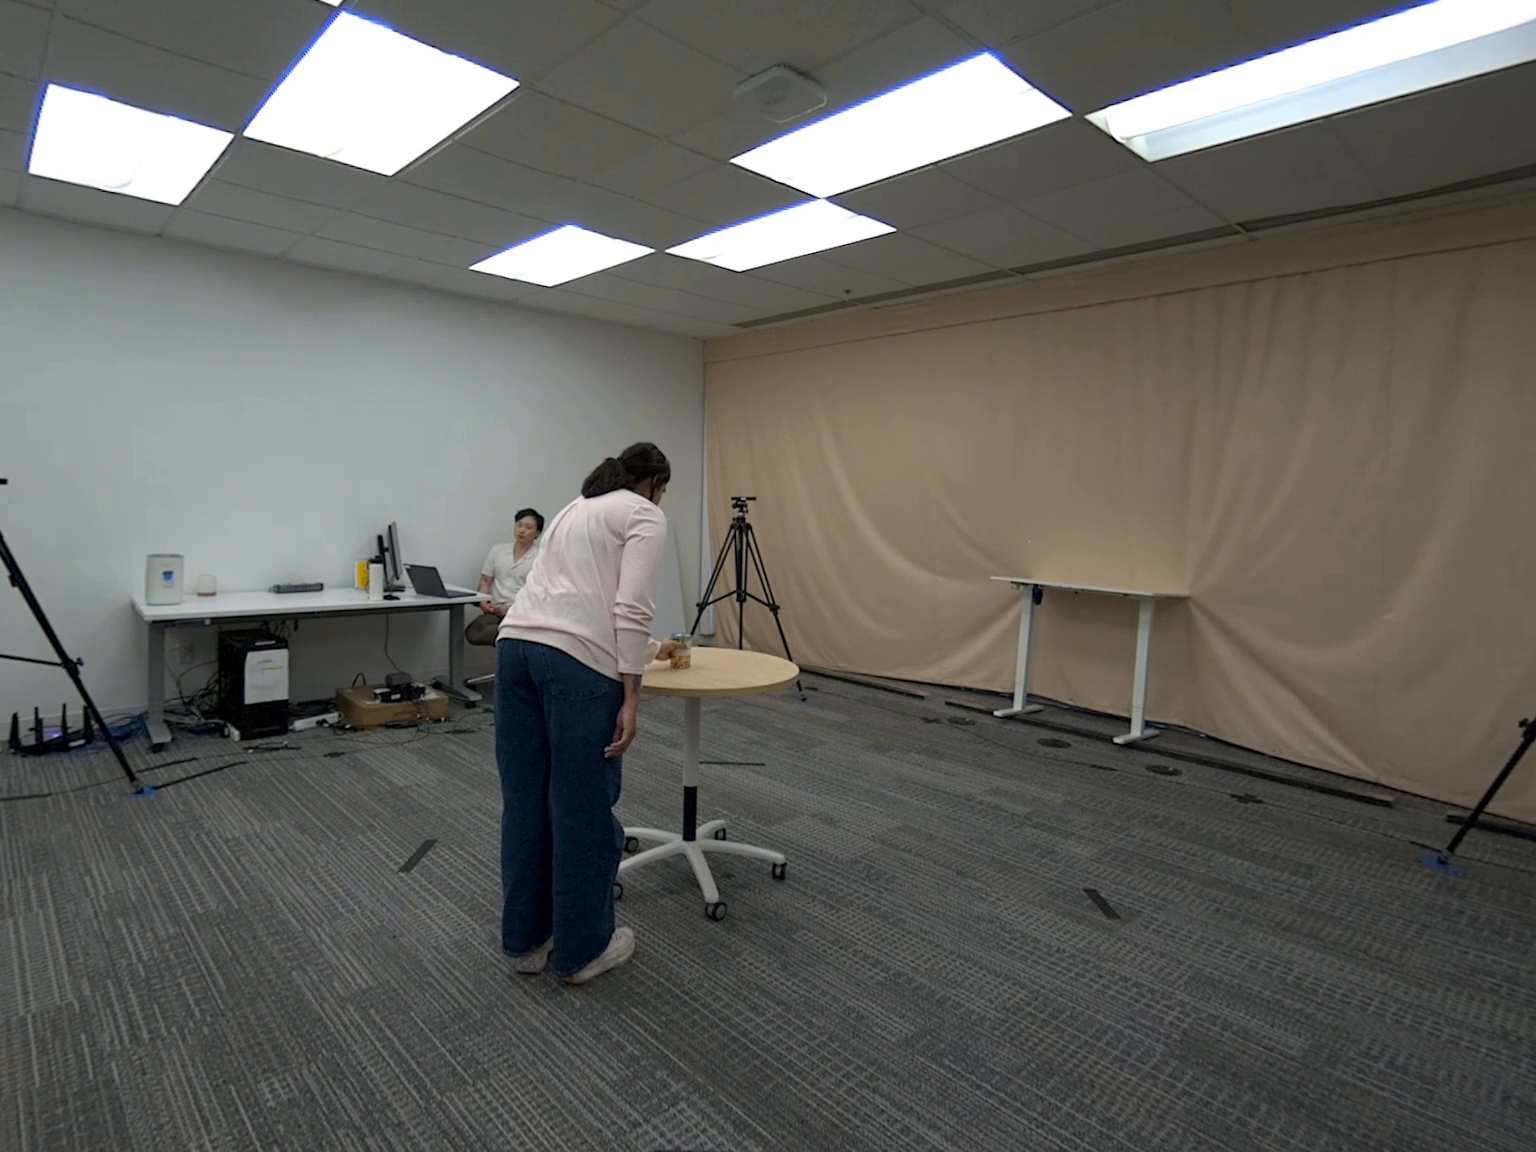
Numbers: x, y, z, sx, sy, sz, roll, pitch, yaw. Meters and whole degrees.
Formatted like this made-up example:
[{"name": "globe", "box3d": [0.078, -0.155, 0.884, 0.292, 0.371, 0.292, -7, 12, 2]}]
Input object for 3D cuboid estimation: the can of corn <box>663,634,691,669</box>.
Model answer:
[{"name": "can of corn", "box3d": [-0.320, 0.268, 3.019, 0.074, 0.111, 0.074, 2, 3, -2]}]
